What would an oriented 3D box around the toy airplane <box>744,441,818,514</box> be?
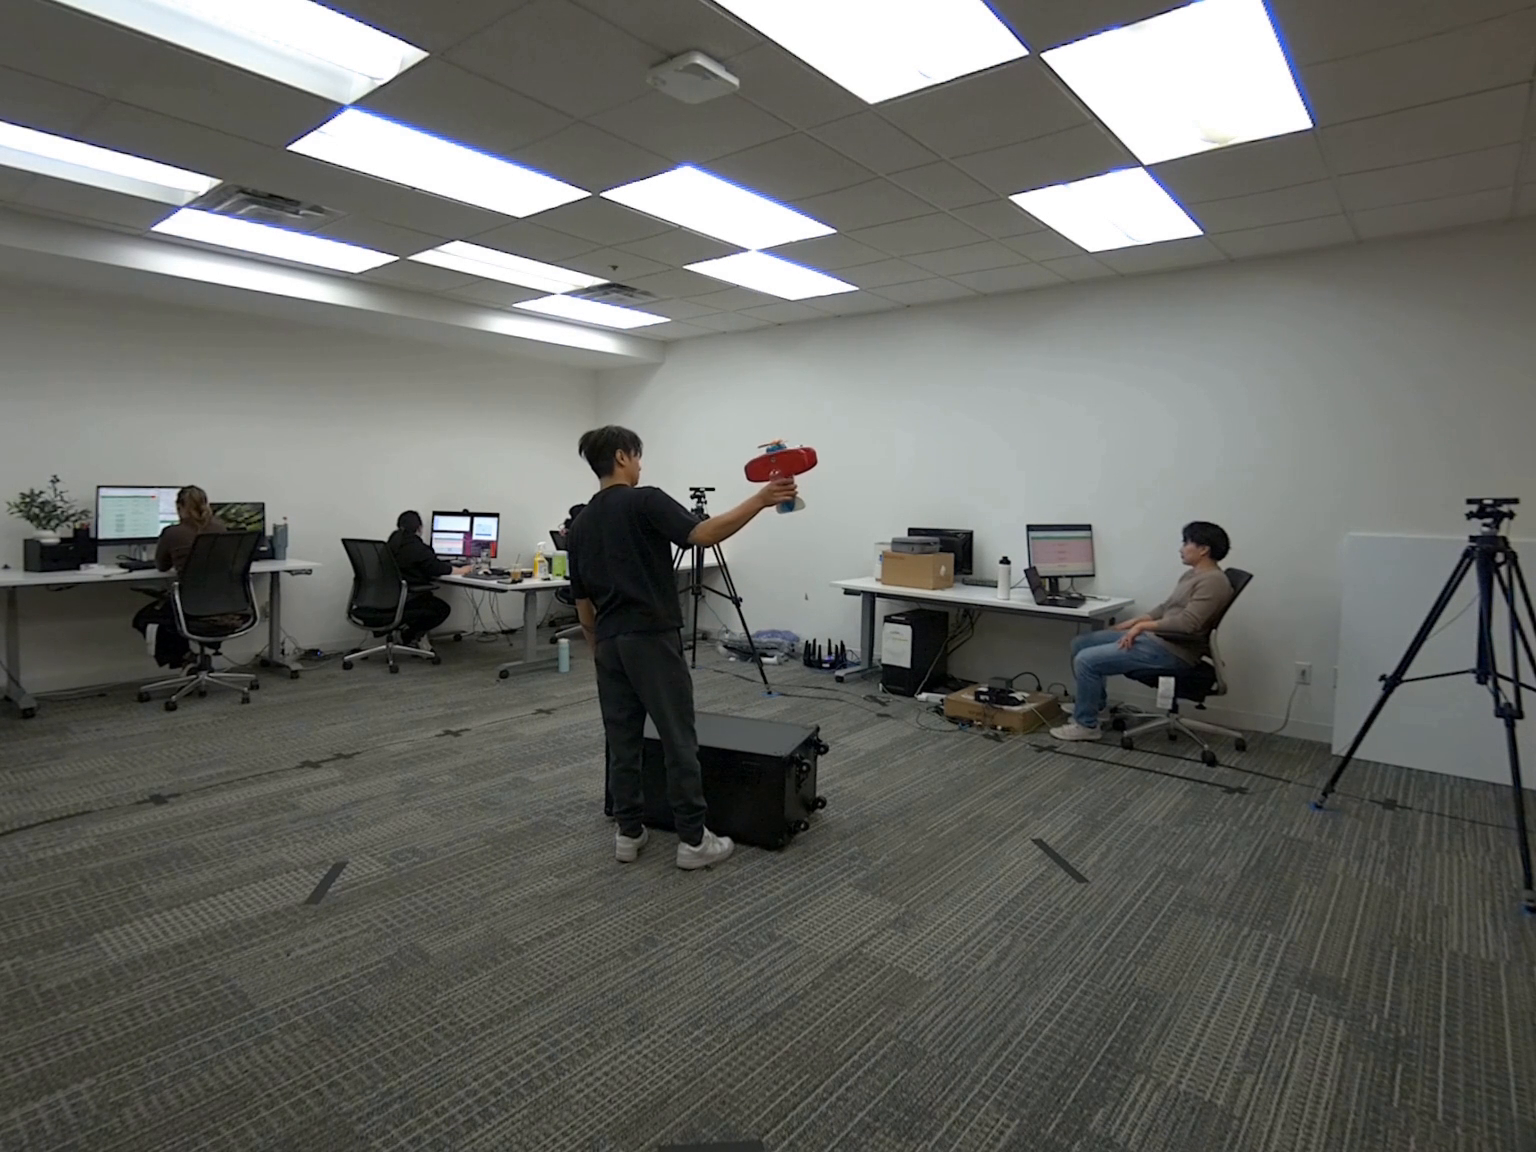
[{"bbox_3d":[0.061,-0.367,3.045,0.252,0.267,0.151,-42,-26,24],"label":"toy airplane"}]
